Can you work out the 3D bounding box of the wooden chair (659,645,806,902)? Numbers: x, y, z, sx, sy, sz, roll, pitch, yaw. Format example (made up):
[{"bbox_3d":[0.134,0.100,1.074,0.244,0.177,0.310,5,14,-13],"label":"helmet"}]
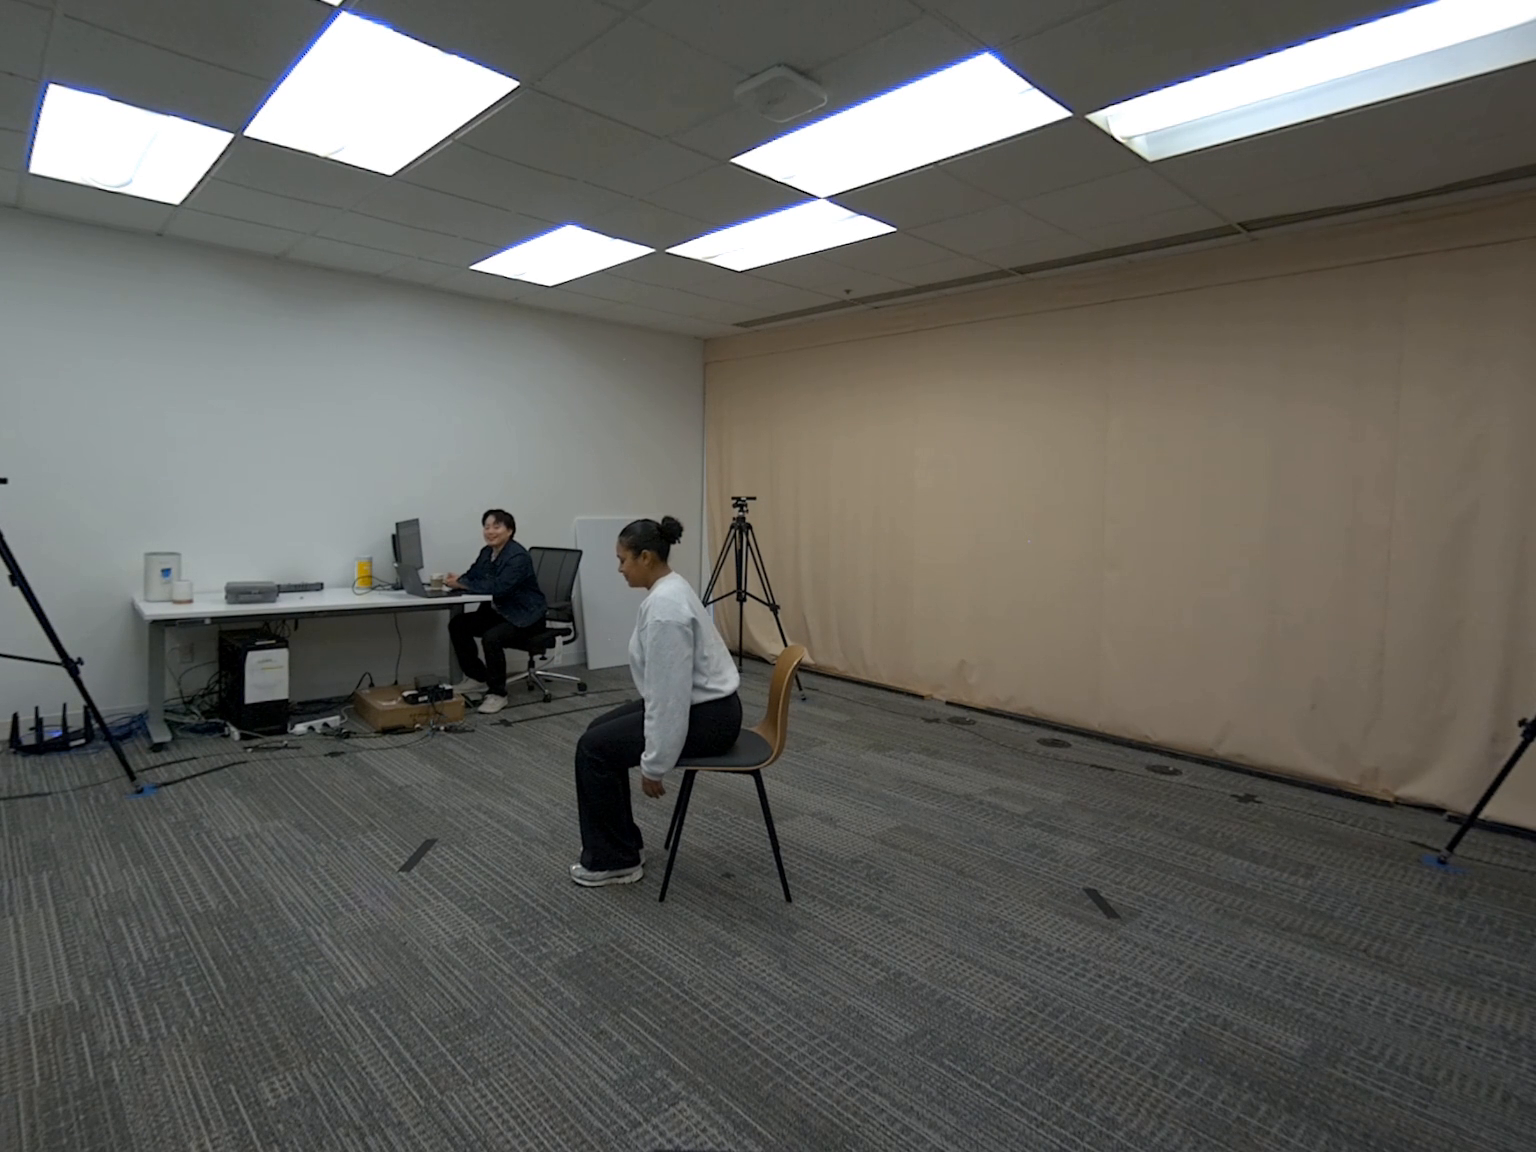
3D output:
[{"bbox_3d":[-0.166,0.680,3.087,0.521,0.875,0.481,5,3,-4],"label":"wooden chair"}]
